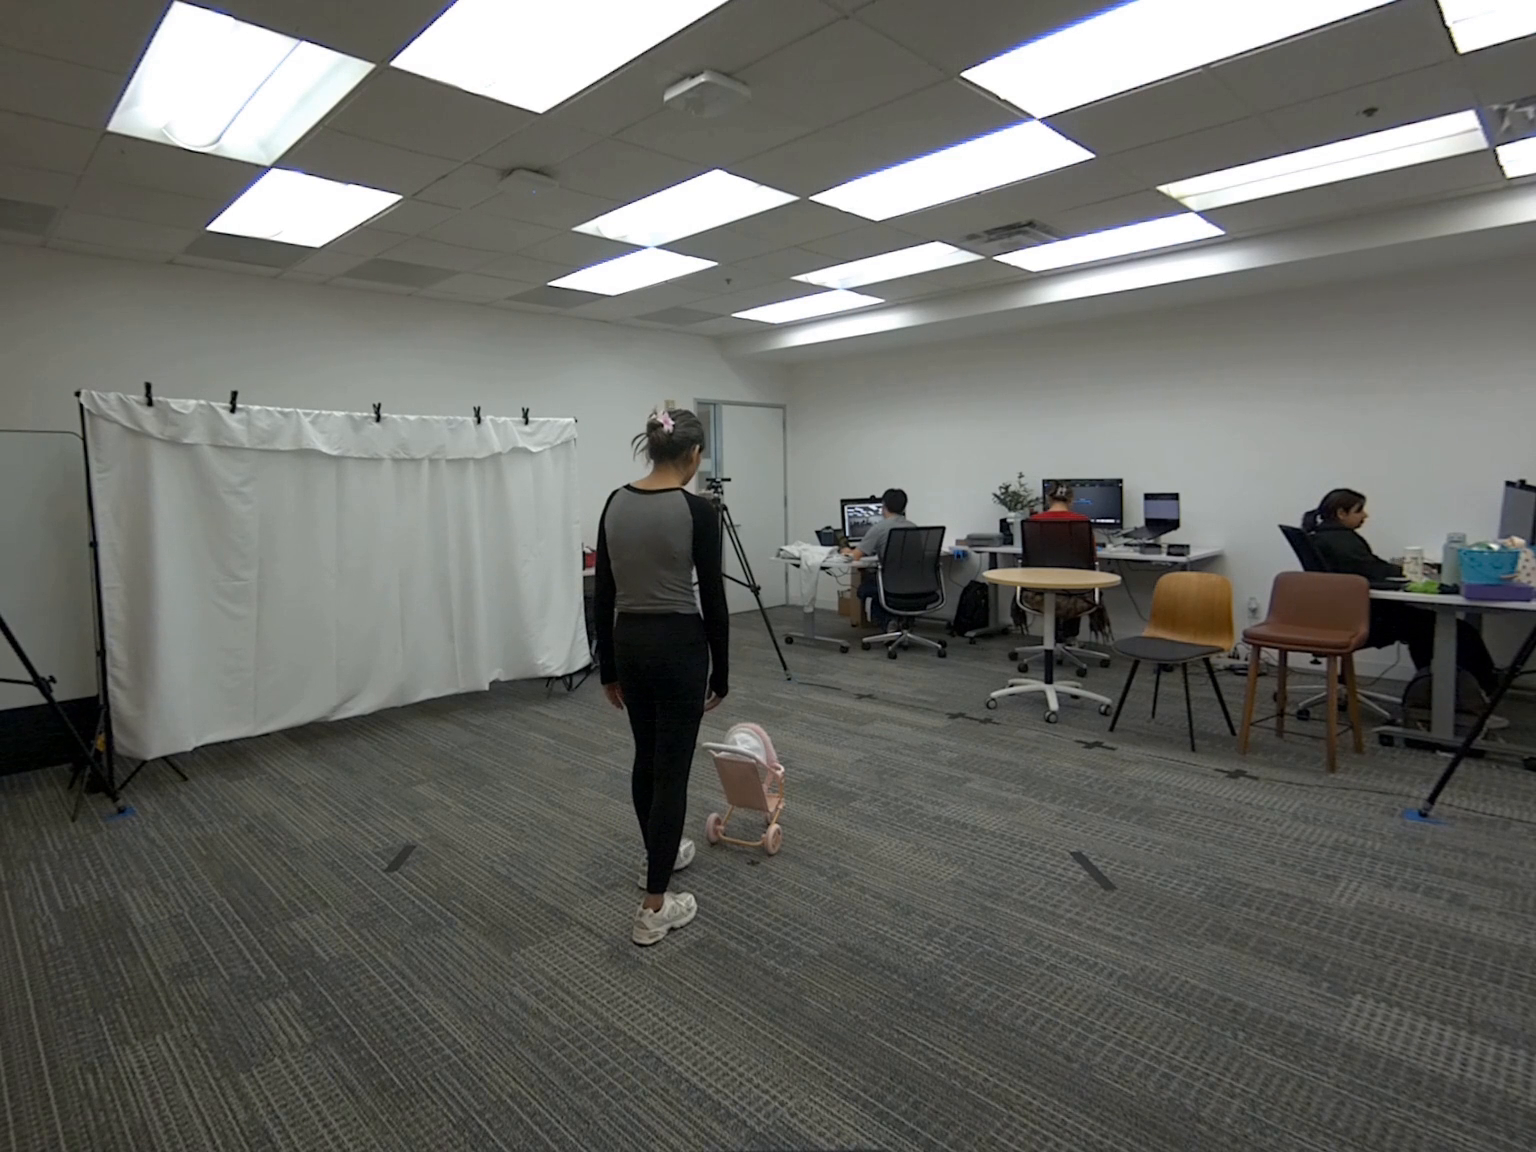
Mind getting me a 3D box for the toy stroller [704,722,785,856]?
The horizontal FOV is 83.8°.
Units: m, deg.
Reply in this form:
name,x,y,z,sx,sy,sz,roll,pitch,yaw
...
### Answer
name,x,y,z,sx,sy,sz,roll,pitch,yaw
toy stroller,-0.066,0.797,3.279,0.289,0.526,0.338,2,20,29
